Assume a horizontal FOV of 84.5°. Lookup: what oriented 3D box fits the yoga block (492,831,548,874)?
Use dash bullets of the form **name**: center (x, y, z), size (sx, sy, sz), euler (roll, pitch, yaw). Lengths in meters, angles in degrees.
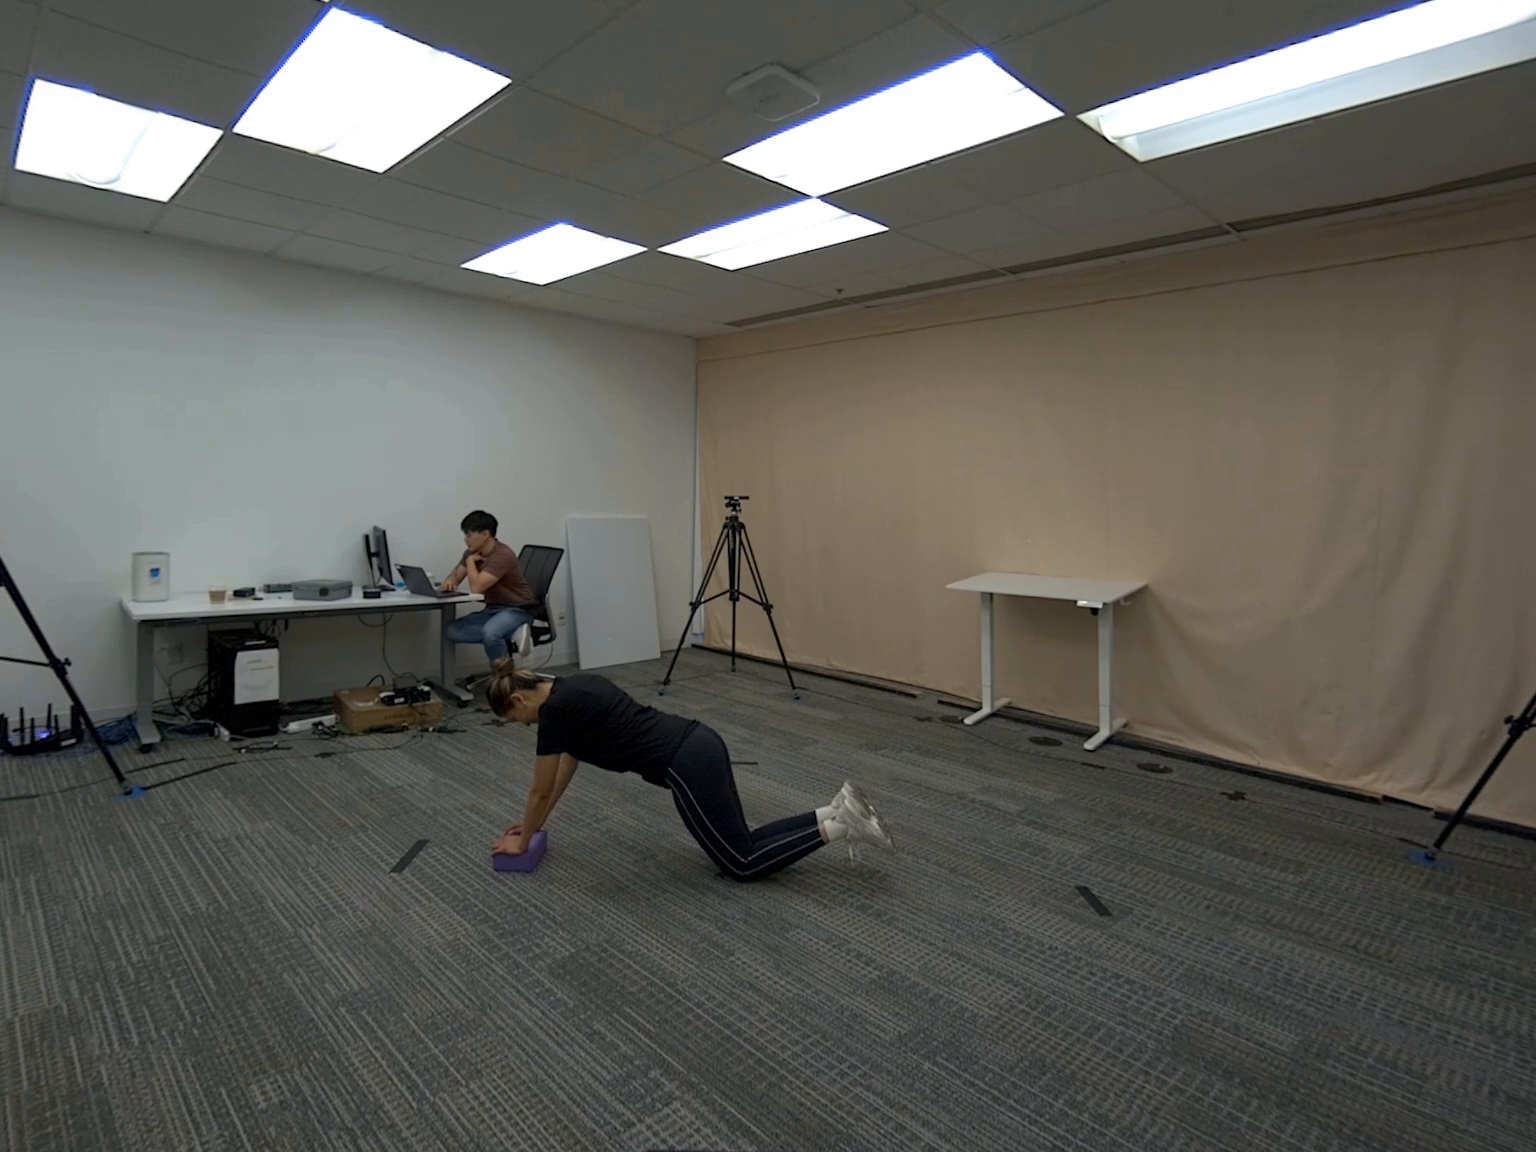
- **yoga block**: center (-0.937, 1.029, 3.199), size (0.149, 0.076, 0.230), euler (-2, 5, 1)
